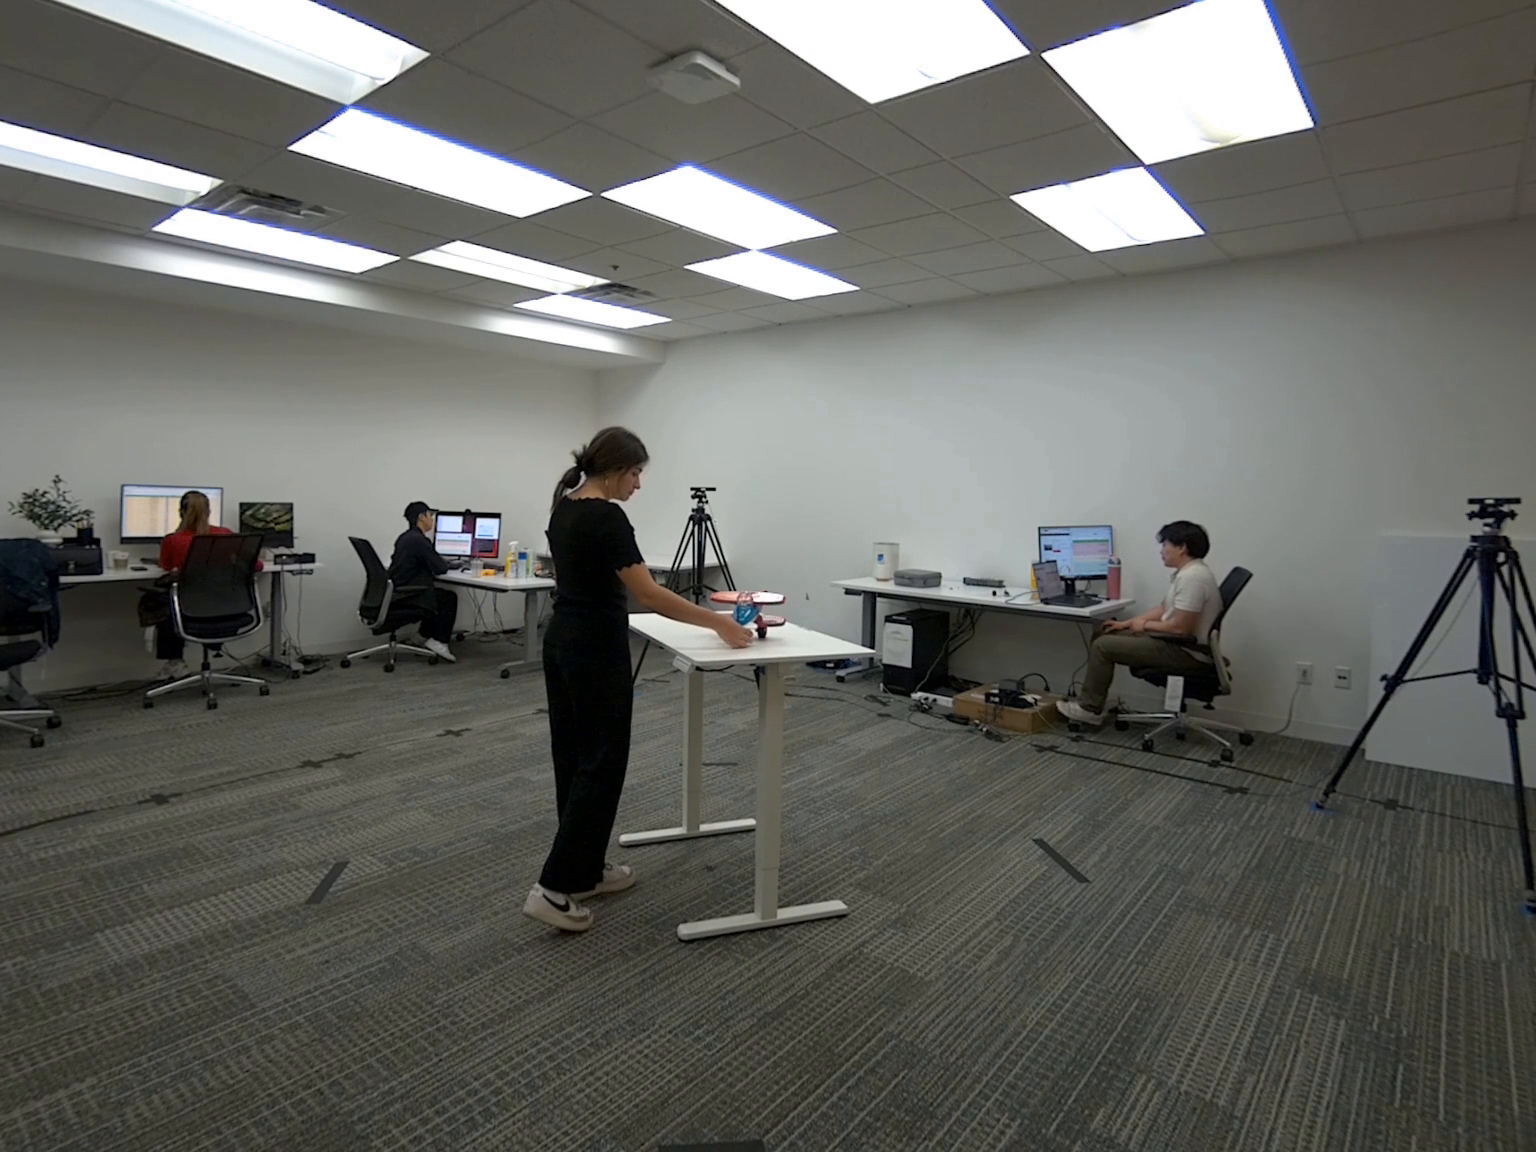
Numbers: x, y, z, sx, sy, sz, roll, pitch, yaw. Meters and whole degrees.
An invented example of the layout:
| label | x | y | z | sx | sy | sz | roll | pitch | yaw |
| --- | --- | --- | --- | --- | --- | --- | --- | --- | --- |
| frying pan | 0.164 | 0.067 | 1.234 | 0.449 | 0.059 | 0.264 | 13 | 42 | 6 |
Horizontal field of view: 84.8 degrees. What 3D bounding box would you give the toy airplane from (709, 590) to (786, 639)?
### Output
| label | x | y | z | sx | sy | sz | roll | pitch | yaw |
| --- | --- | --- | --- | --- | --- | --- | --- | --- | --- |
| toy airplane | -0.060 | 0.137 | 2.819 | 0.247 | 0.156 | 0.264 | 0 | 2 | -18 |
